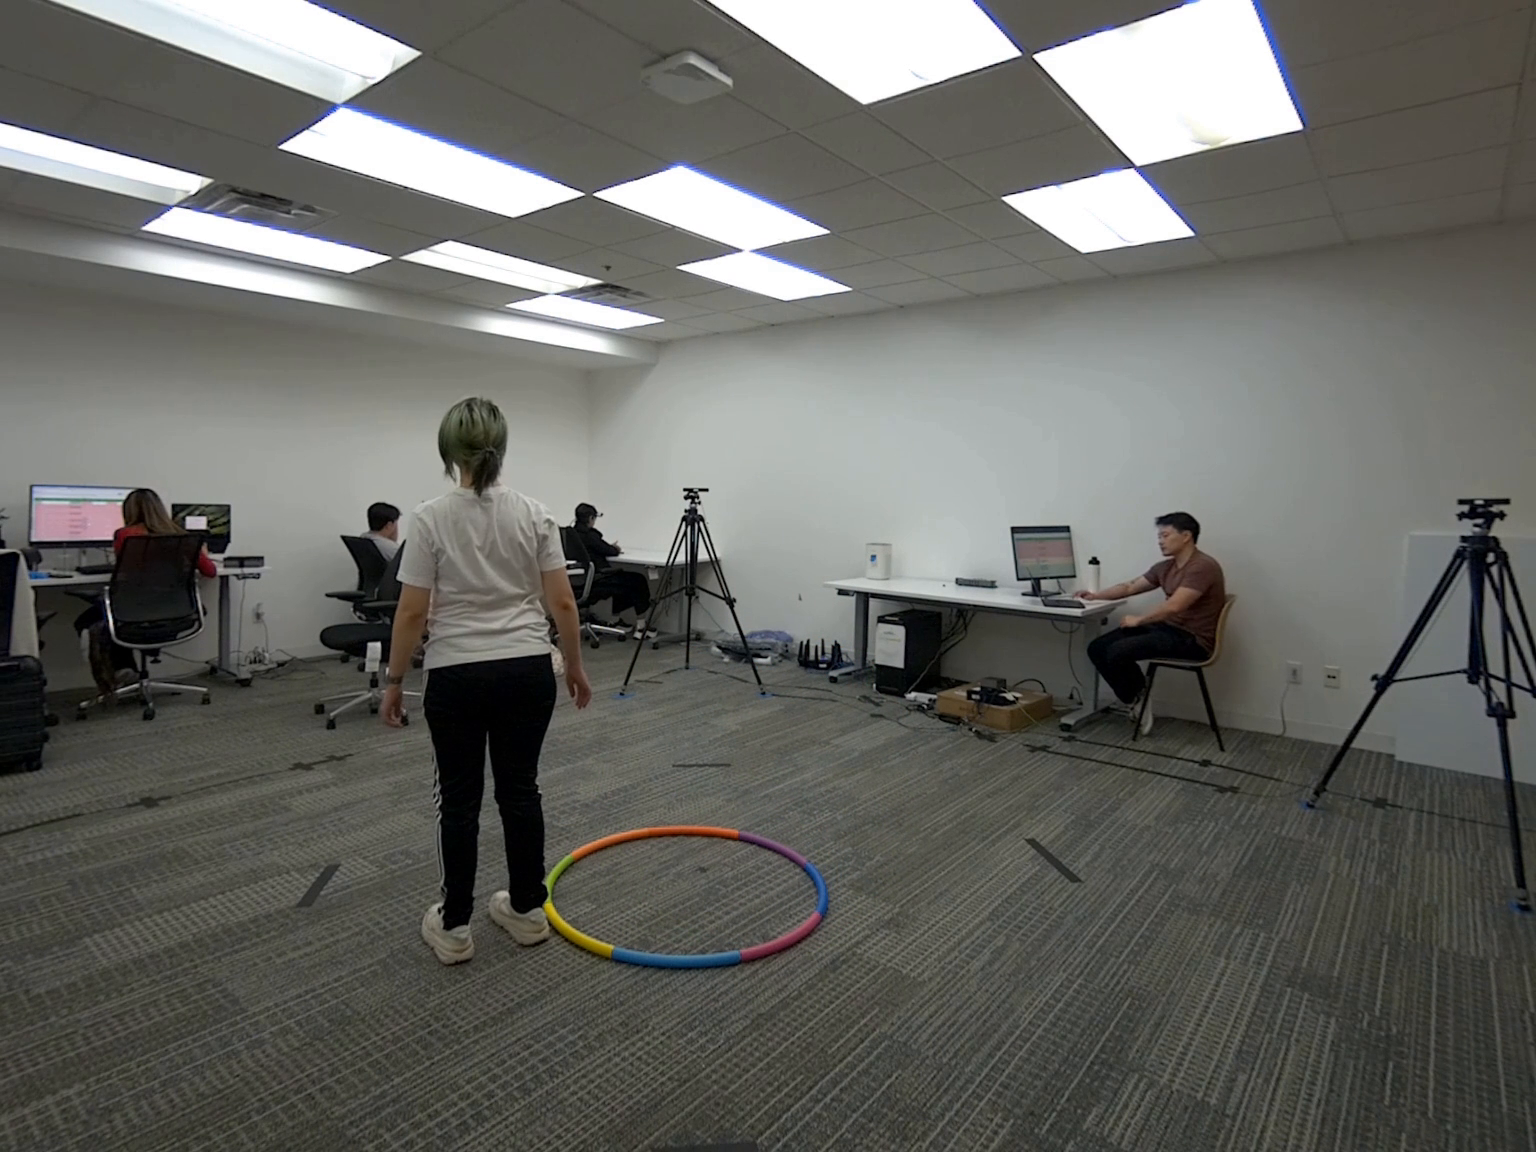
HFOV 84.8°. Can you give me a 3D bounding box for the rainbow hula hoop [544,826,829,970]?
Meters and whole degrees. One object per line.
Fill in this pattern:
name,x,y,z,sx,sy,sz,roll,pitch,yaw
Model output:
rainbow hula hoop,-0.292,1.053,2.938,0.978,0.035,0.984,1,6,-2
